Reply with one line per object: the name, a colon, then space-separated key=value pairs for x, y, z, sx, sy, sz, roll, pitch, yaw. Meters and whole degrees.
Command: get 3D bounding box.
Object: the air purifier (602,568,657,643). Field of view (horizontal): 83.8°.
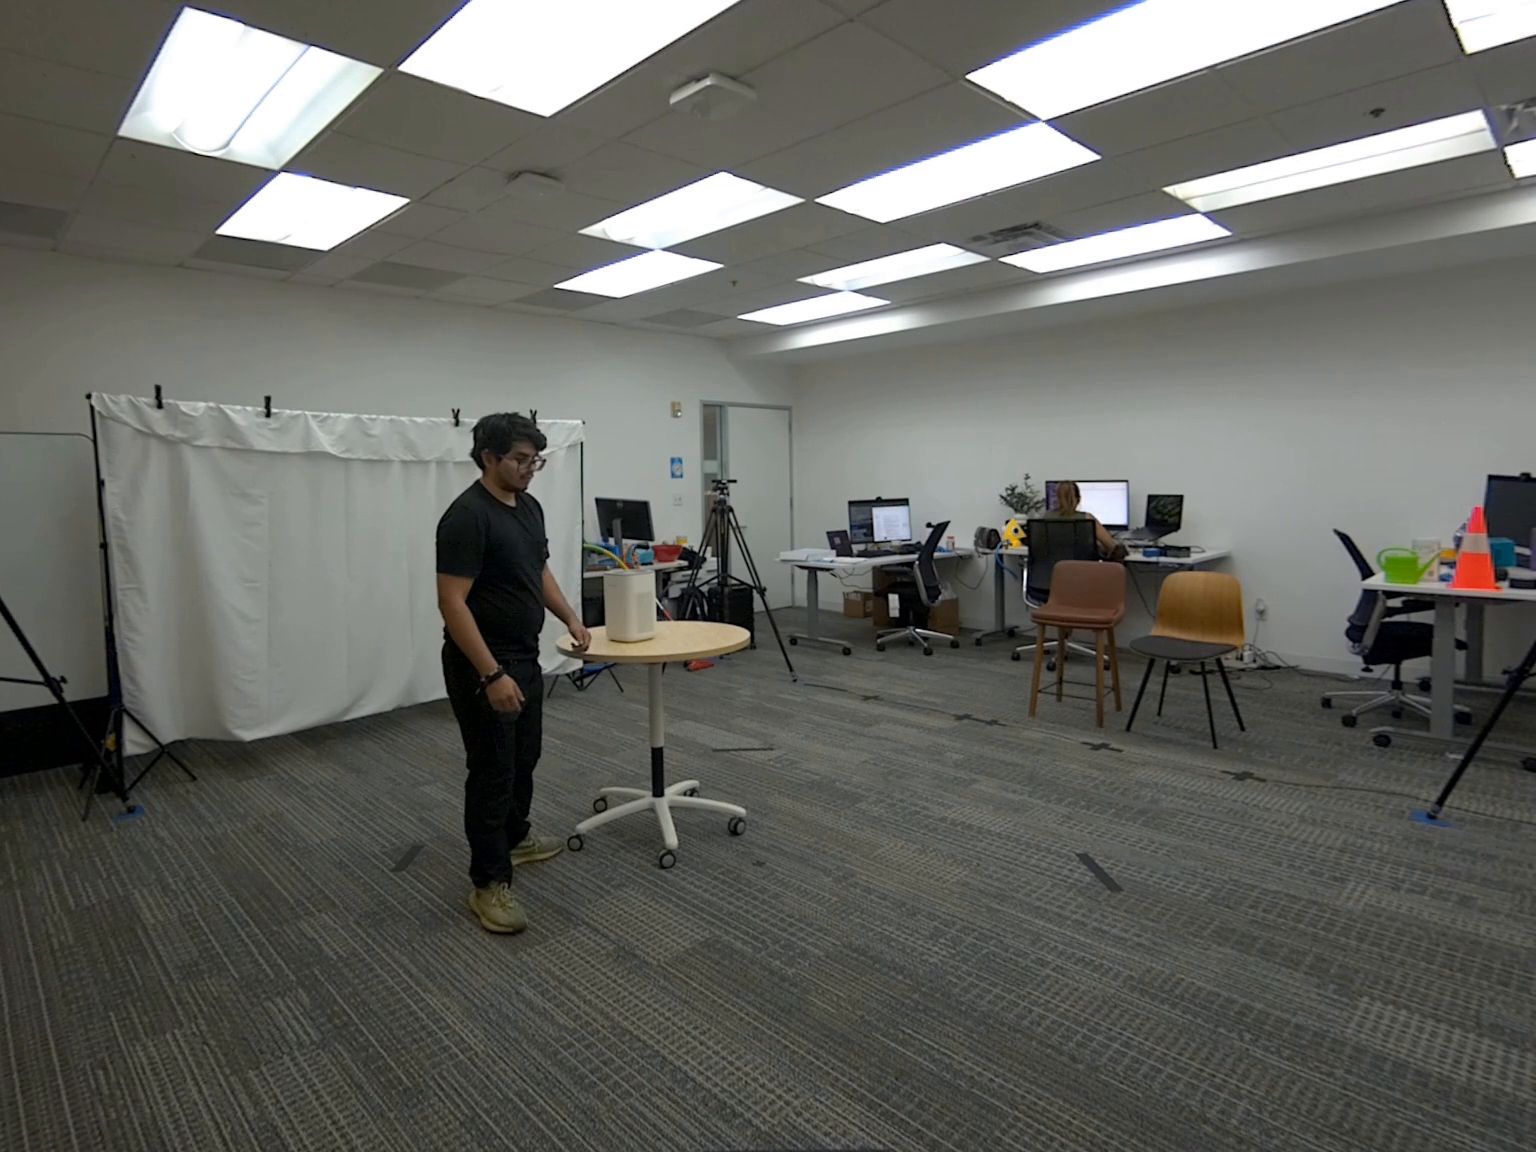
air purifier: x=-0.534 y=0.113 z=3.344 sx=0.173 sy=0.262 sz=0.169 roll=0 pitch=2 yaw=41
